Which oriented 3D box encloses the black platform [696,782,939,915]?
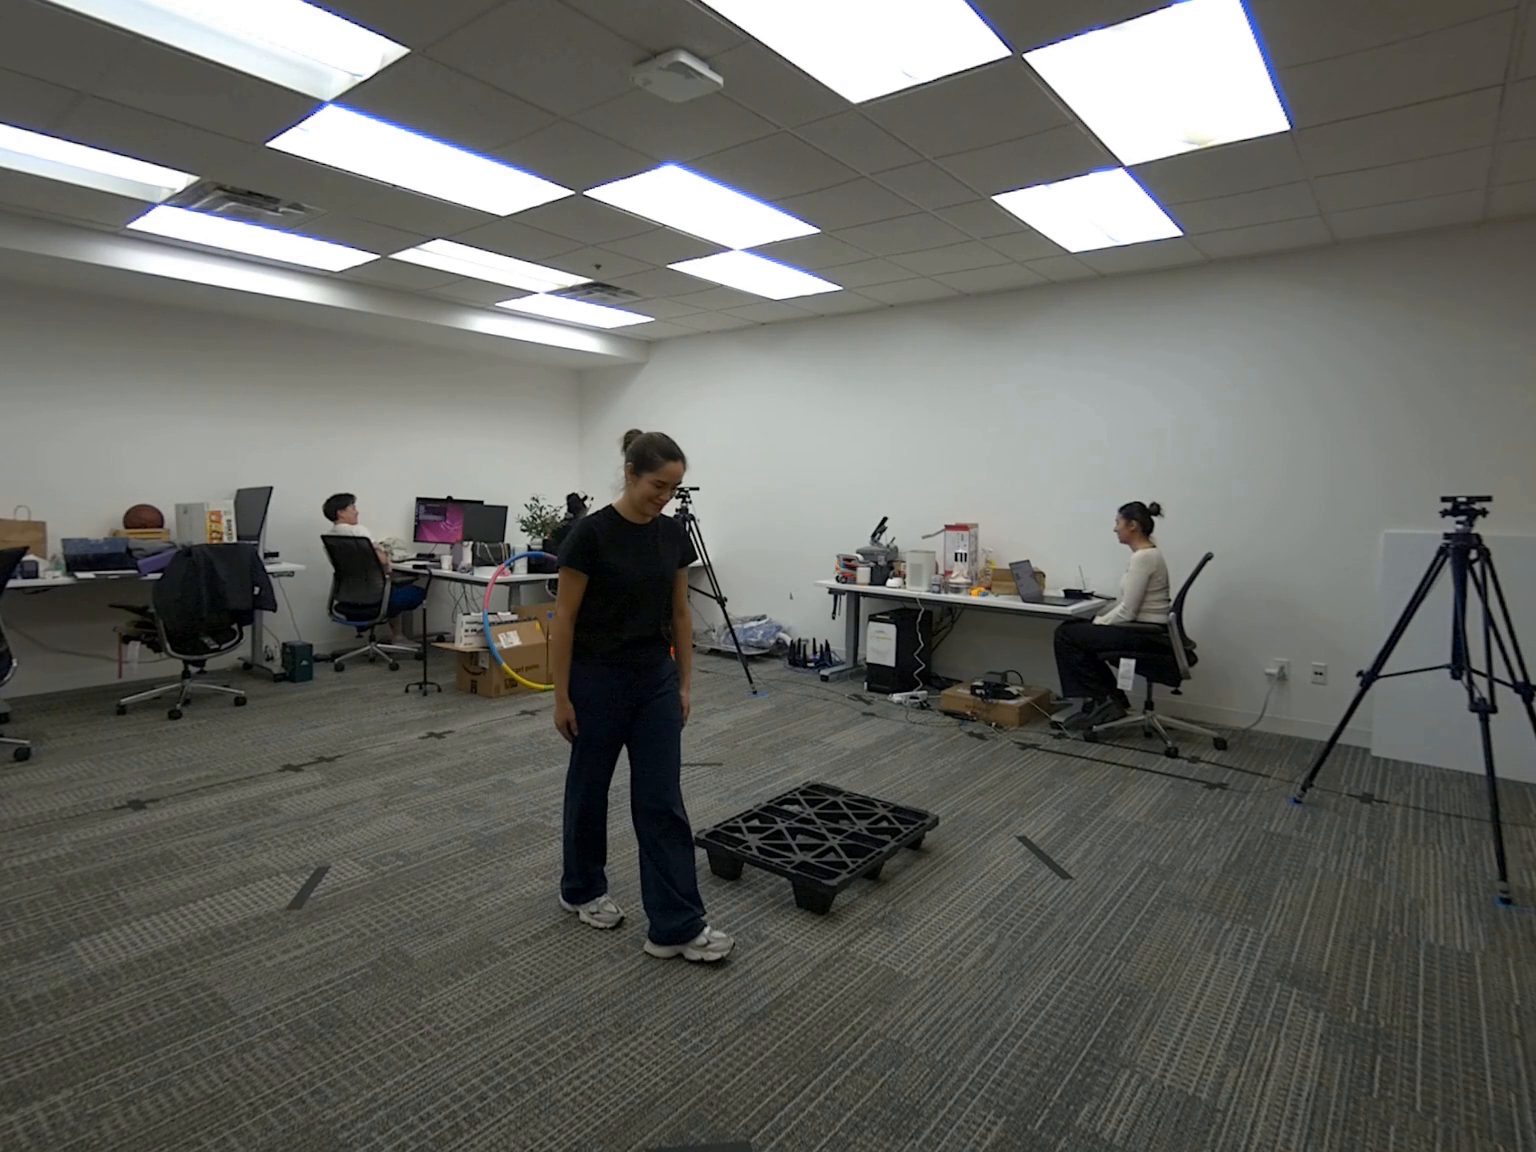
[{"bbox_3d":[0.210,0.998,3.208,0.625,0.143,0.782,5,6,38],"label":"black platform"}]
